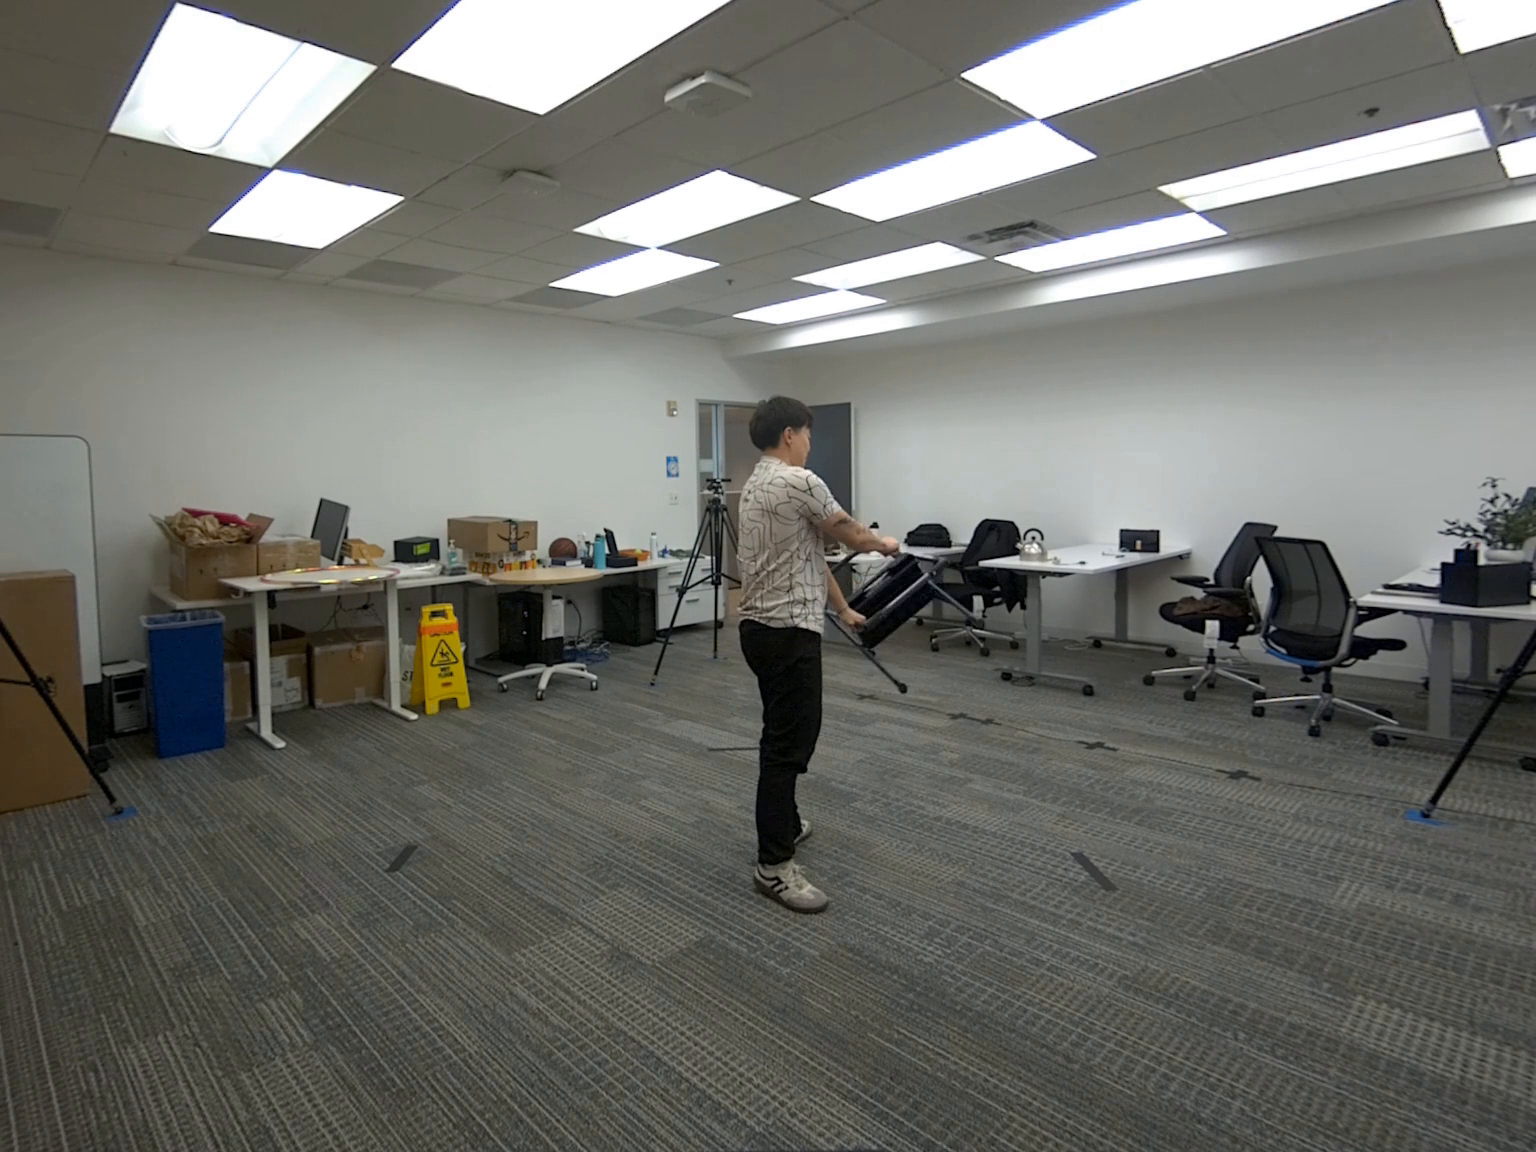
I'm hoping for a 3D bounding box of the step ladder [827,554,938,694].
[{"bbox_3d":[0.462,0.107,3.448,0.429,0.339,0.625,-37,27,-9],"label":"step ladder"}]
